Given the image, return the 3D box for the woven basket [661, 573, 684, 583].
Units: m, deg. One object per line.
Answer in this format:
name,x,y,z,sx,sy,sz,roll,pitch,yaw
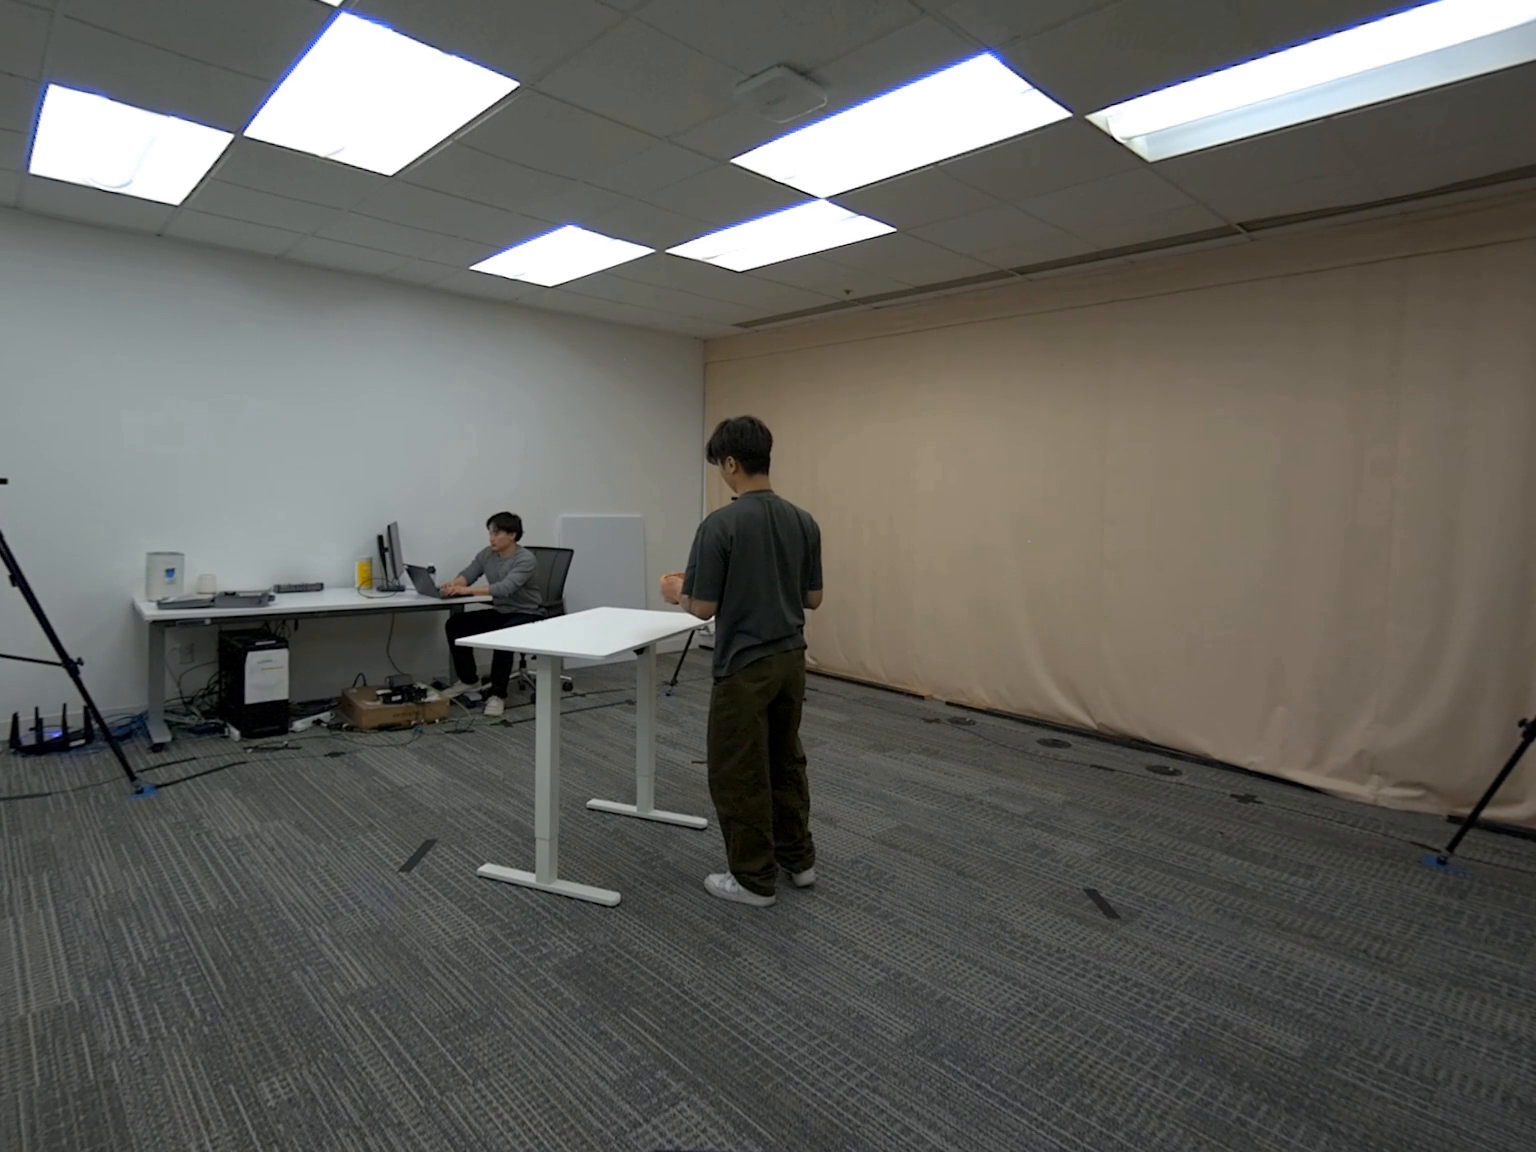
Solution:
woven basket,-0.164,0.058,3.135,0.344,0.073,0.259,-3,11,-29
